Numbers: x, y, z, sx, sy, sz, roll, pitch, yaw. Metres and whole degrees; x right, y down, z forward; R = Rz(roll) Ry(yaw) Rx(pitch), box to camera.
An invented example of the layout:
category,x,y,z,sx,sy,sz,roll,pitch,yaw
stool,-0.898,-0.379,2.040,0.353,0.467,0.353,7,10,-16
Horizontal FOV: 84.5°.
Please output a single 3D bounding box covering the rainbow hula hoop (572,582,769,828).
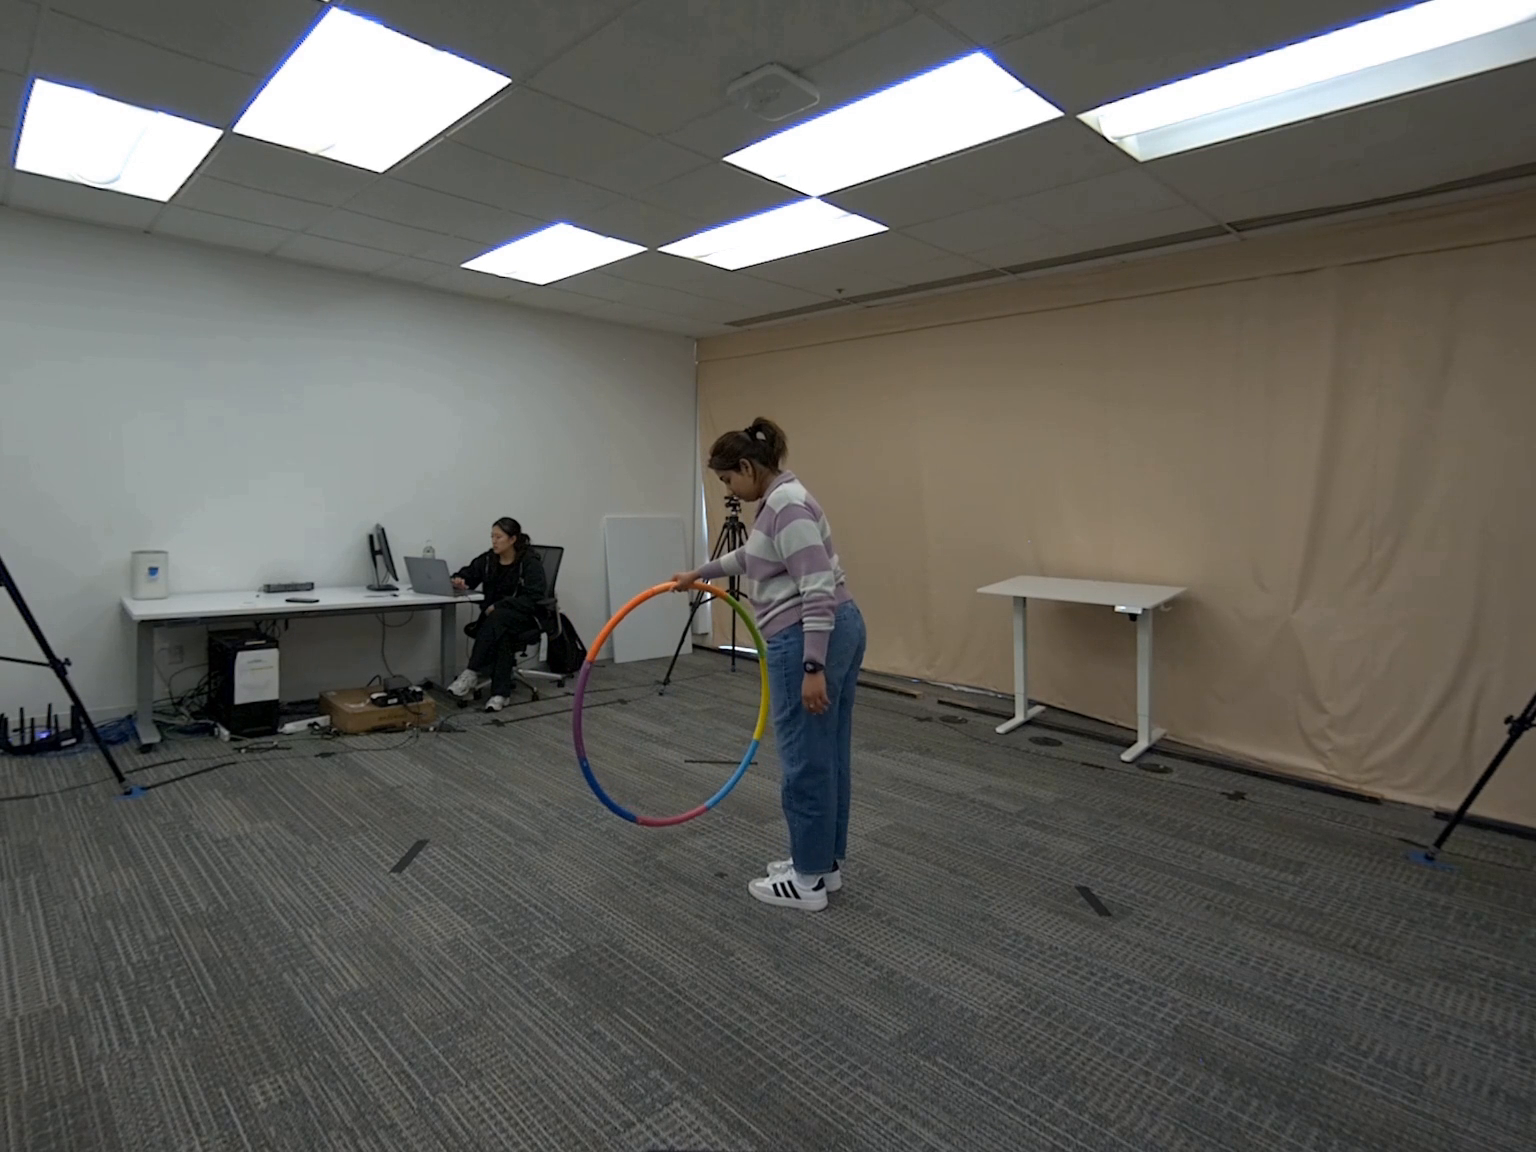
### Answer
category,x,y,z,sx,sy,sz,roll,pitch,yaw
rainbow hula hoop,-0.356,0.517,3.415,0.956,0.975,0.036,-2,6,-40
